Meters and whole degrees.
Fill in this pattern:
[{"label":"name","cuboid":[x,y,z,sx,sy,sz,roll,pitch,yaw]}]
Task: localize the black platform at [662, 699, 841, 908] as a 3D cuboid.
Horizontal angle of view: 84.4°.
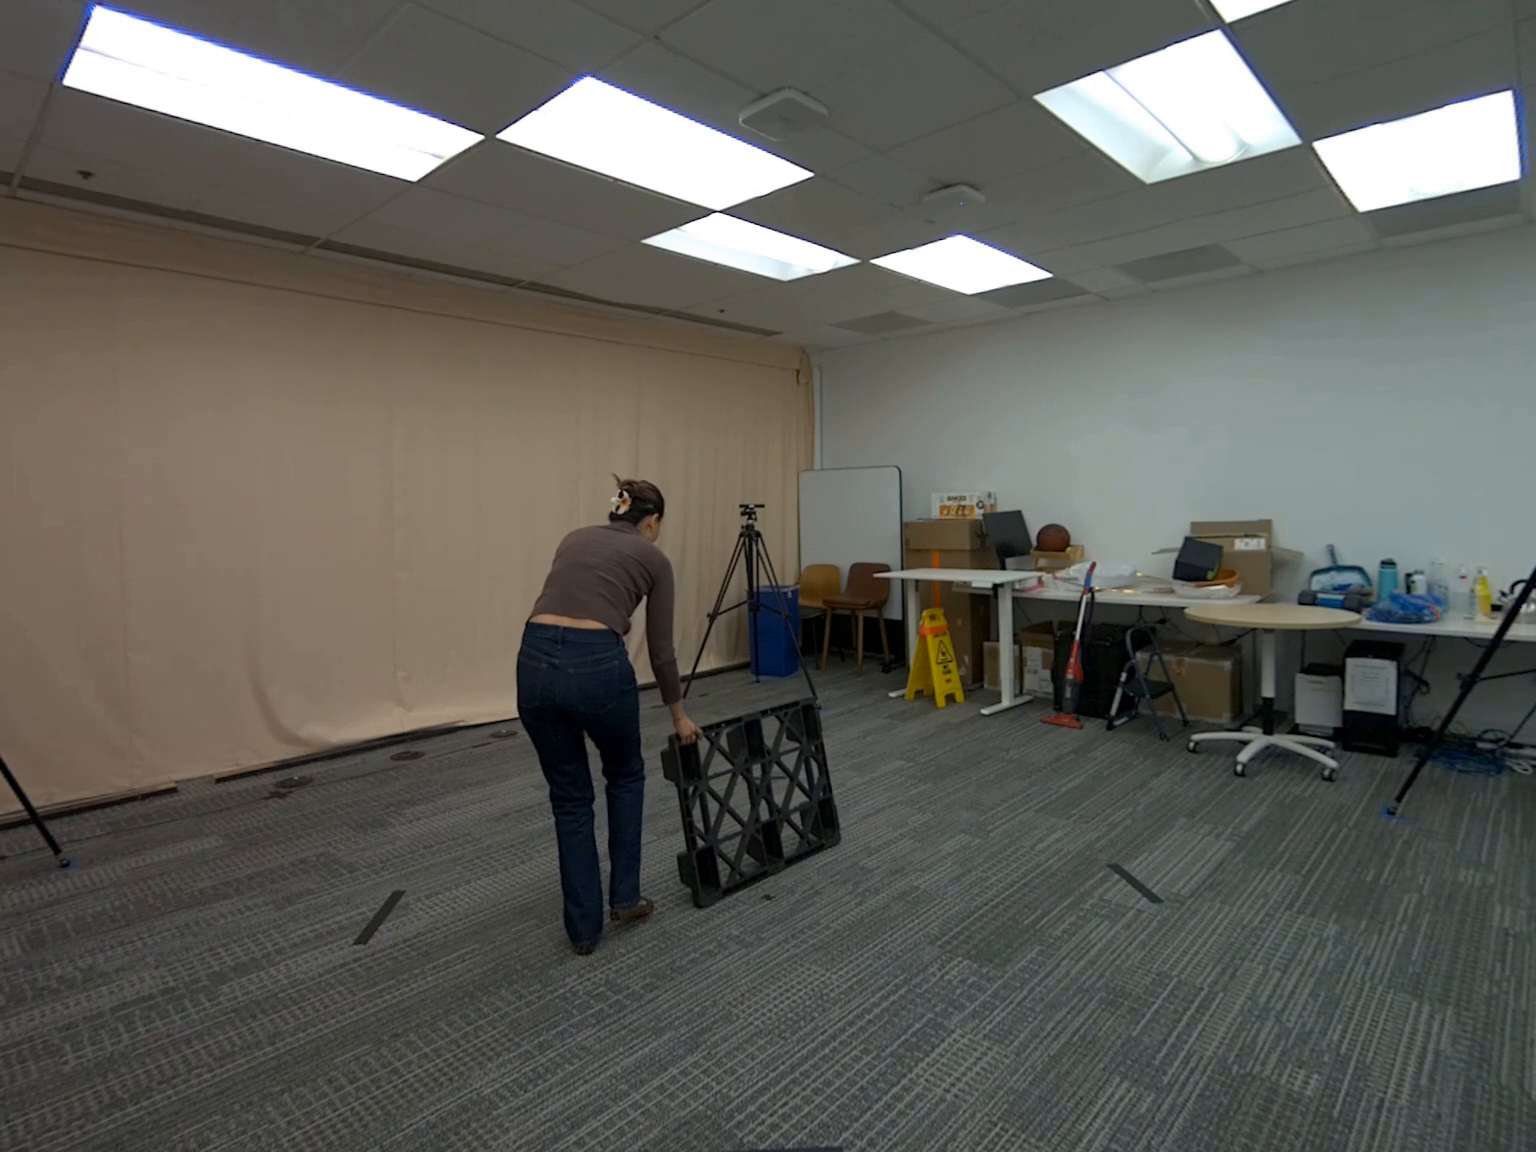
[{"label":"black platform","cuboid":[-0.051,0.837,3.248,0.147,0.607,0.781,-14,-6,44]}]
